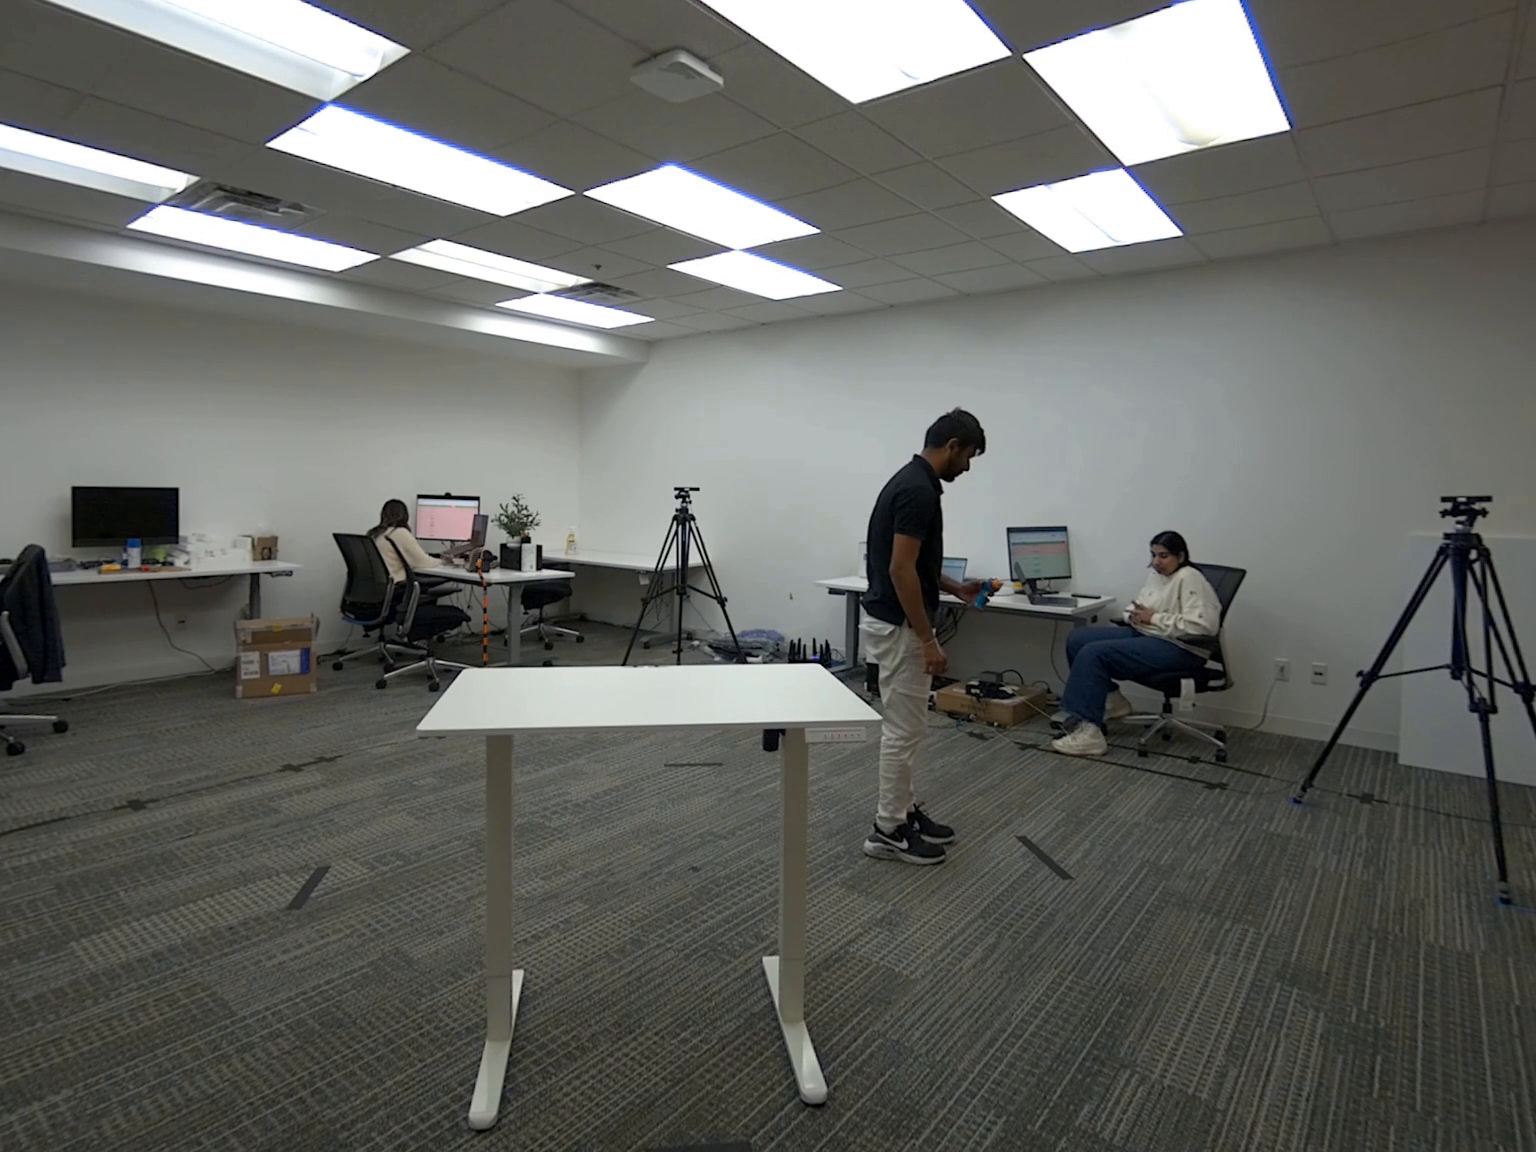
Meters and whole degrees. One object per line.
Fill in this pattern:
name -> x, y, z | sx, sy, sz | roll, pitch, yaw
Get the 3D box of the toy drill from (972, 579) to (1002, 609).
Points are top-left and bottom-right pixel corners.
toy drill -> 0.841, 0.080, 3.261 | 0.061, 0.146, 0.171 | 35, -11, -7
